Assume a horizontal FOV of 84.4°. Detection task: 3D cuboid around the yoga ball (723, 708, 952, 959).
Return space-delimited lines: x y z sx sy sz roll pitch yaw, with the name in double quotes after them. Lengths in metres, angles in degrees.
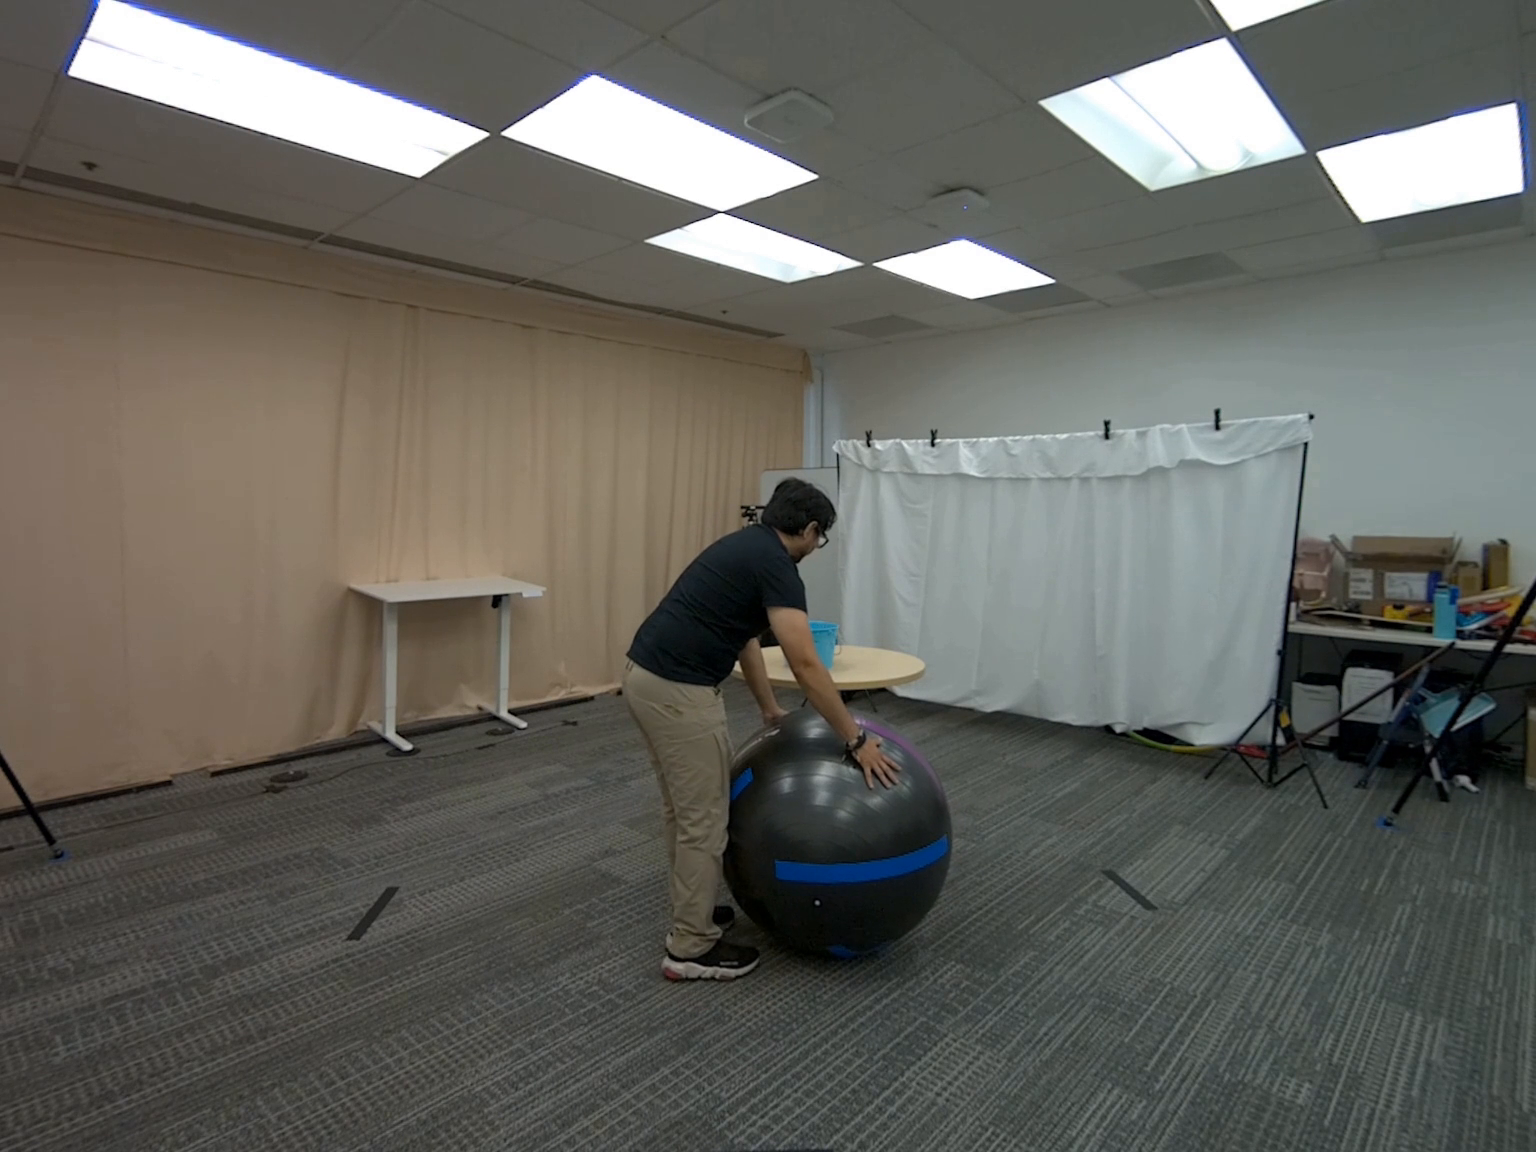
0.215 0.817 2.696 0.757 0.756 0.760 0 4 -2 "yoga ball"
